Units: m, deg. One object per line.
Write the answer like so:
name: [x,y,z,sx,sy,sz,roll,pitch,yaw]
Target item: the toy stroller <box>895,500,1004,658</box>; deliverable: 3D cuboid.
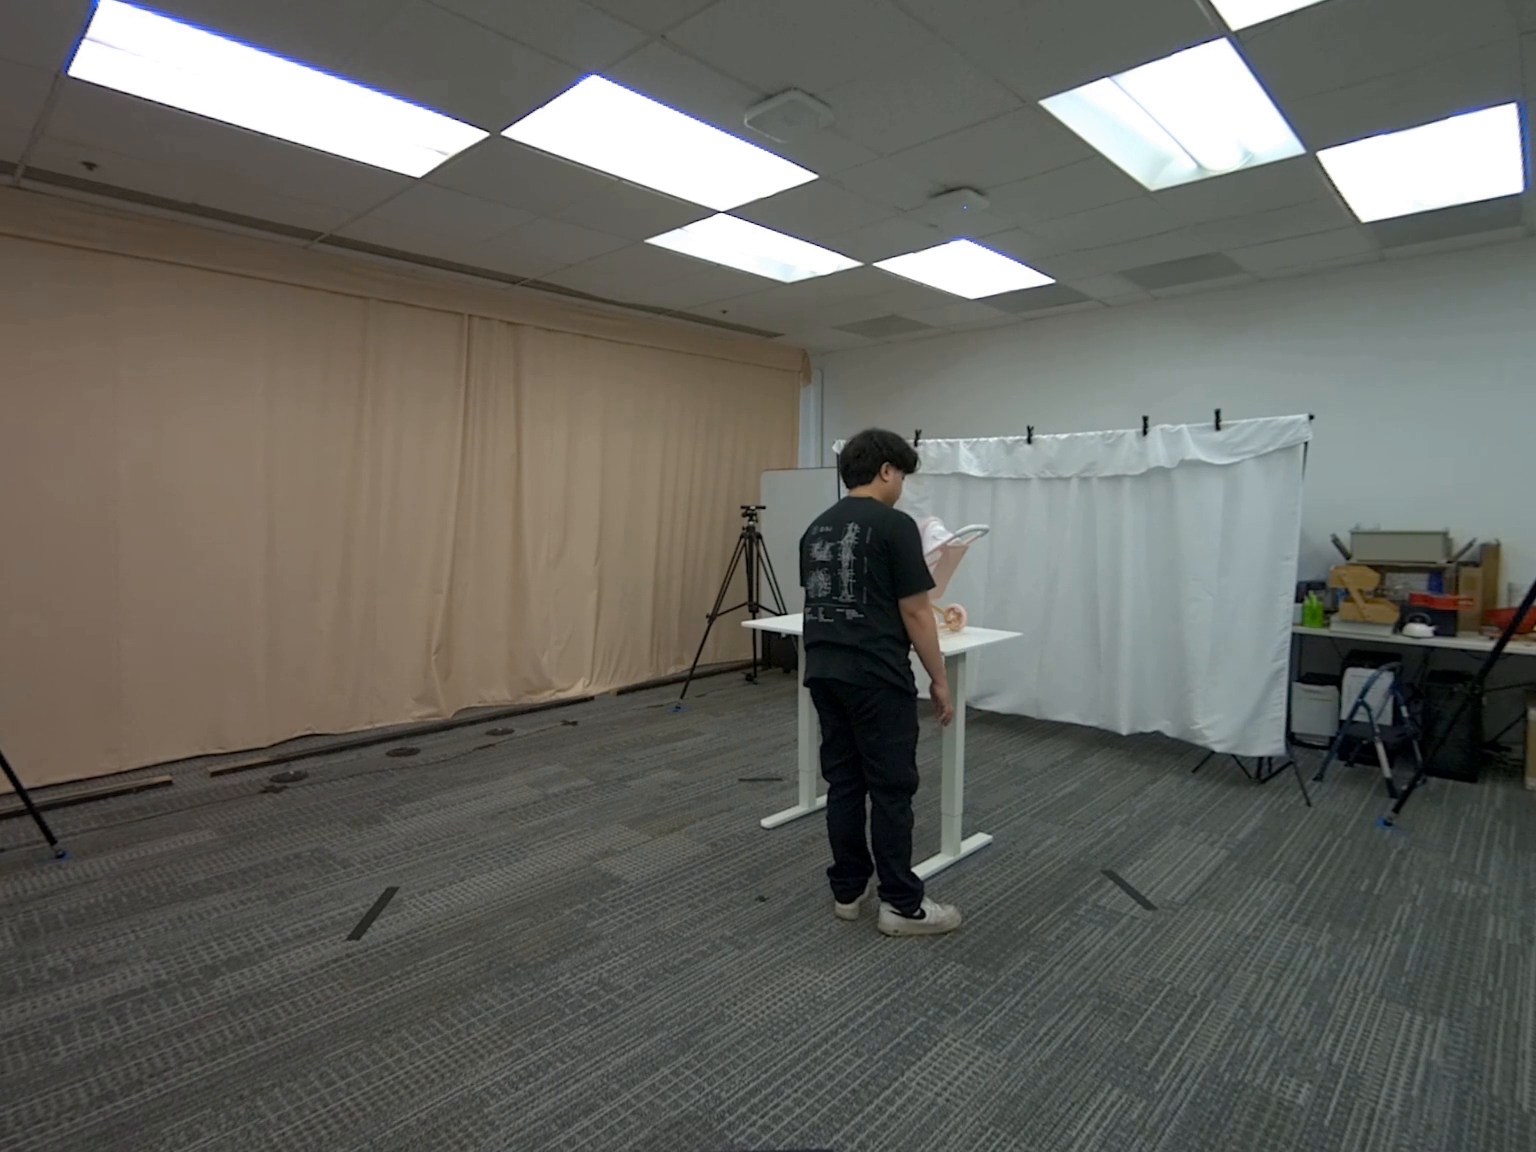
toy stroller: [0.643,0.002,3.374,0.273,0.532,0.354,-3,20,-46]
